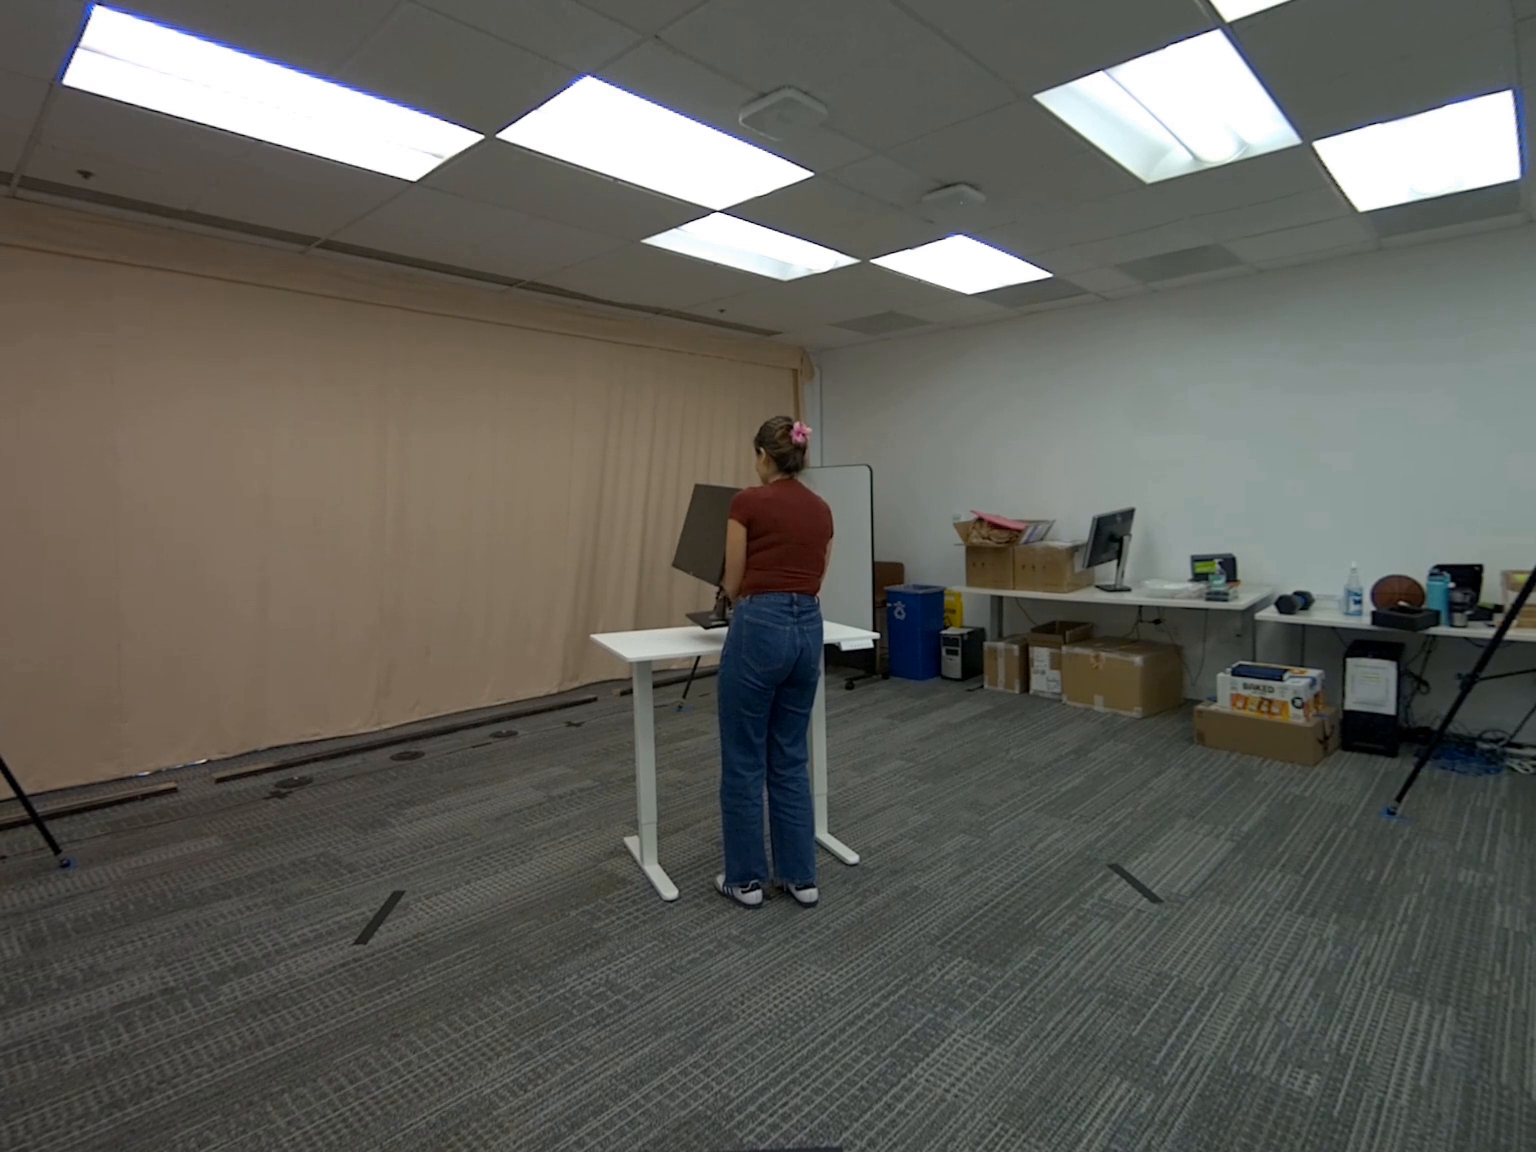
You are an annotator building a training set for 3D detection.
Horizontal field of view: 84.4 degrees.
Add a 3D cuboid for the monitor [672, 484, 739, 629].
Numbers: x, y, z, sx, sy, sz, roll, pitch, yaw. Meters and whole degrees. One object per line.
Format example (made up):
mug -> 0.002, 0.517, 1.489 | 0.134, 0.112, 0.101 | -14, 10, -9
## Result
monitor -> -0.198, -0.080, 3.204 | 0.182, 0.520, 0.554 | 0, 8, -26
